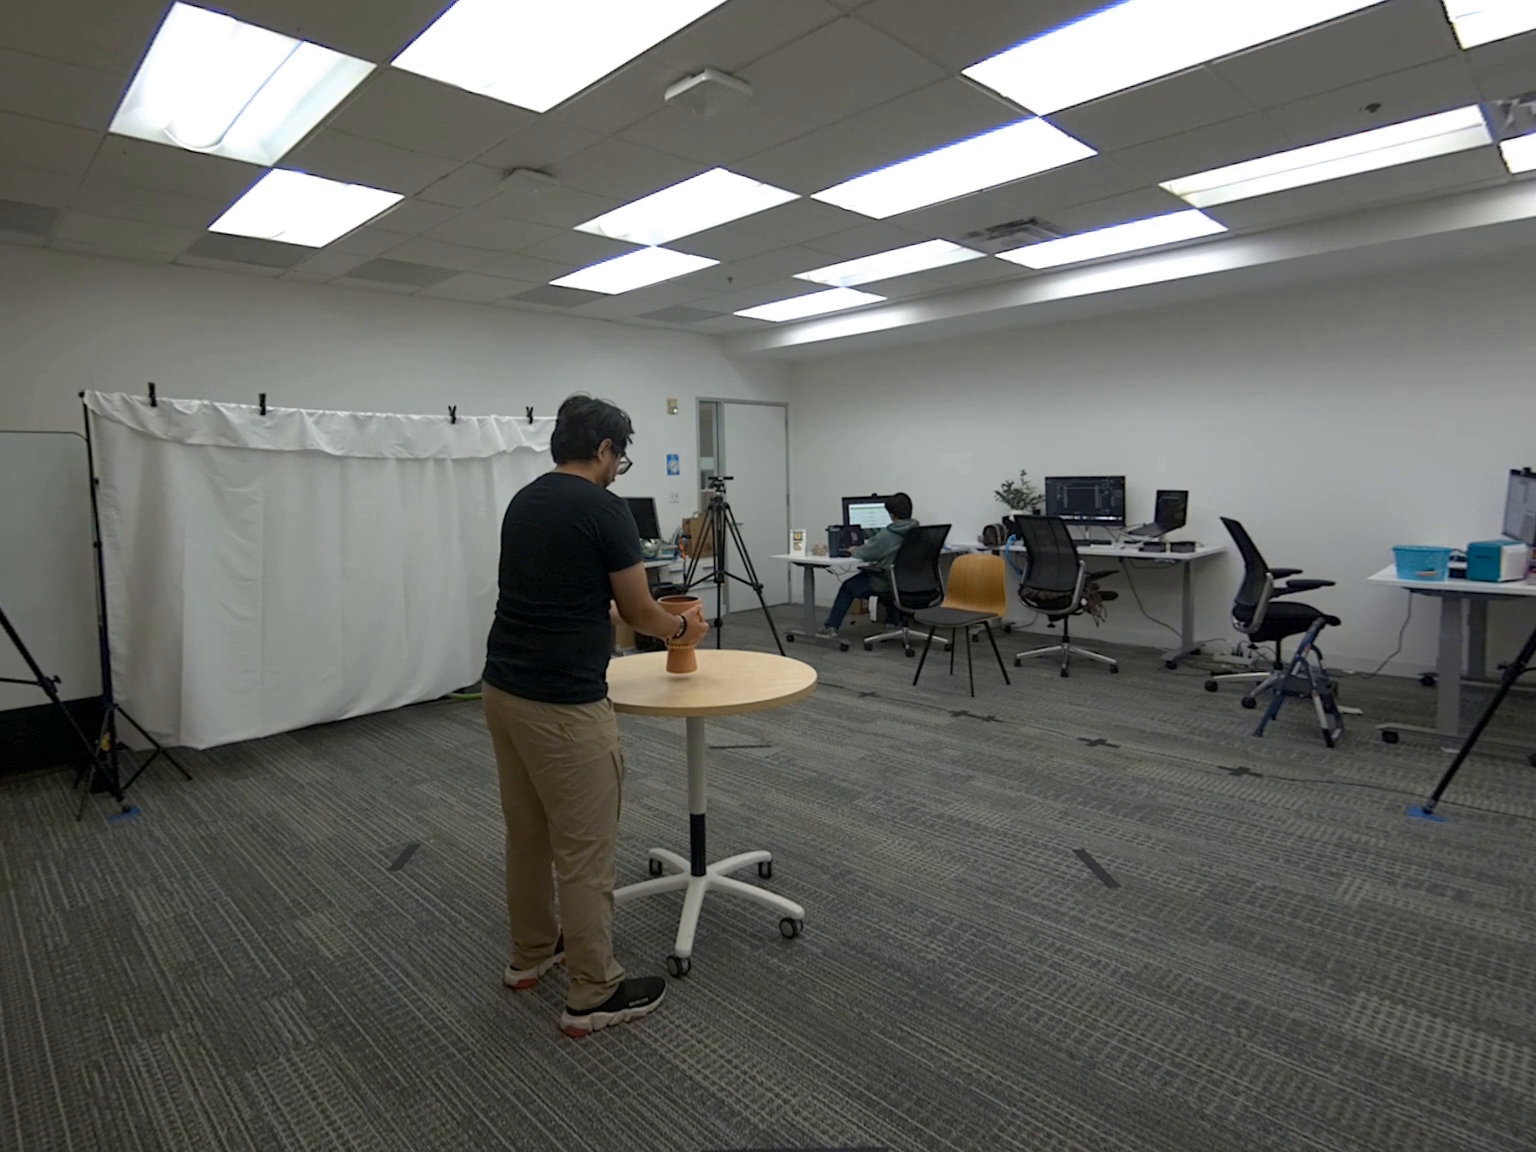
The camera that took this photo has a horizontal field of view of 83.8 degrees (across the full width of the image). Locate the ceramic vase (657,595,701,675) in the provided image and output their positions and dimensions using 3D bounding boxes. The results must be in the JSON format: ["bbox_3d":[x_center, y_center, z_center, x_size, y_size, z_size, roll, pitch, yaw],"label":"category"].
[{"bbox_3d":[-0.264,0.185,2.608,0.133,0.218,0.162,-4,9,-15],"label":"ceramic vase"}]
